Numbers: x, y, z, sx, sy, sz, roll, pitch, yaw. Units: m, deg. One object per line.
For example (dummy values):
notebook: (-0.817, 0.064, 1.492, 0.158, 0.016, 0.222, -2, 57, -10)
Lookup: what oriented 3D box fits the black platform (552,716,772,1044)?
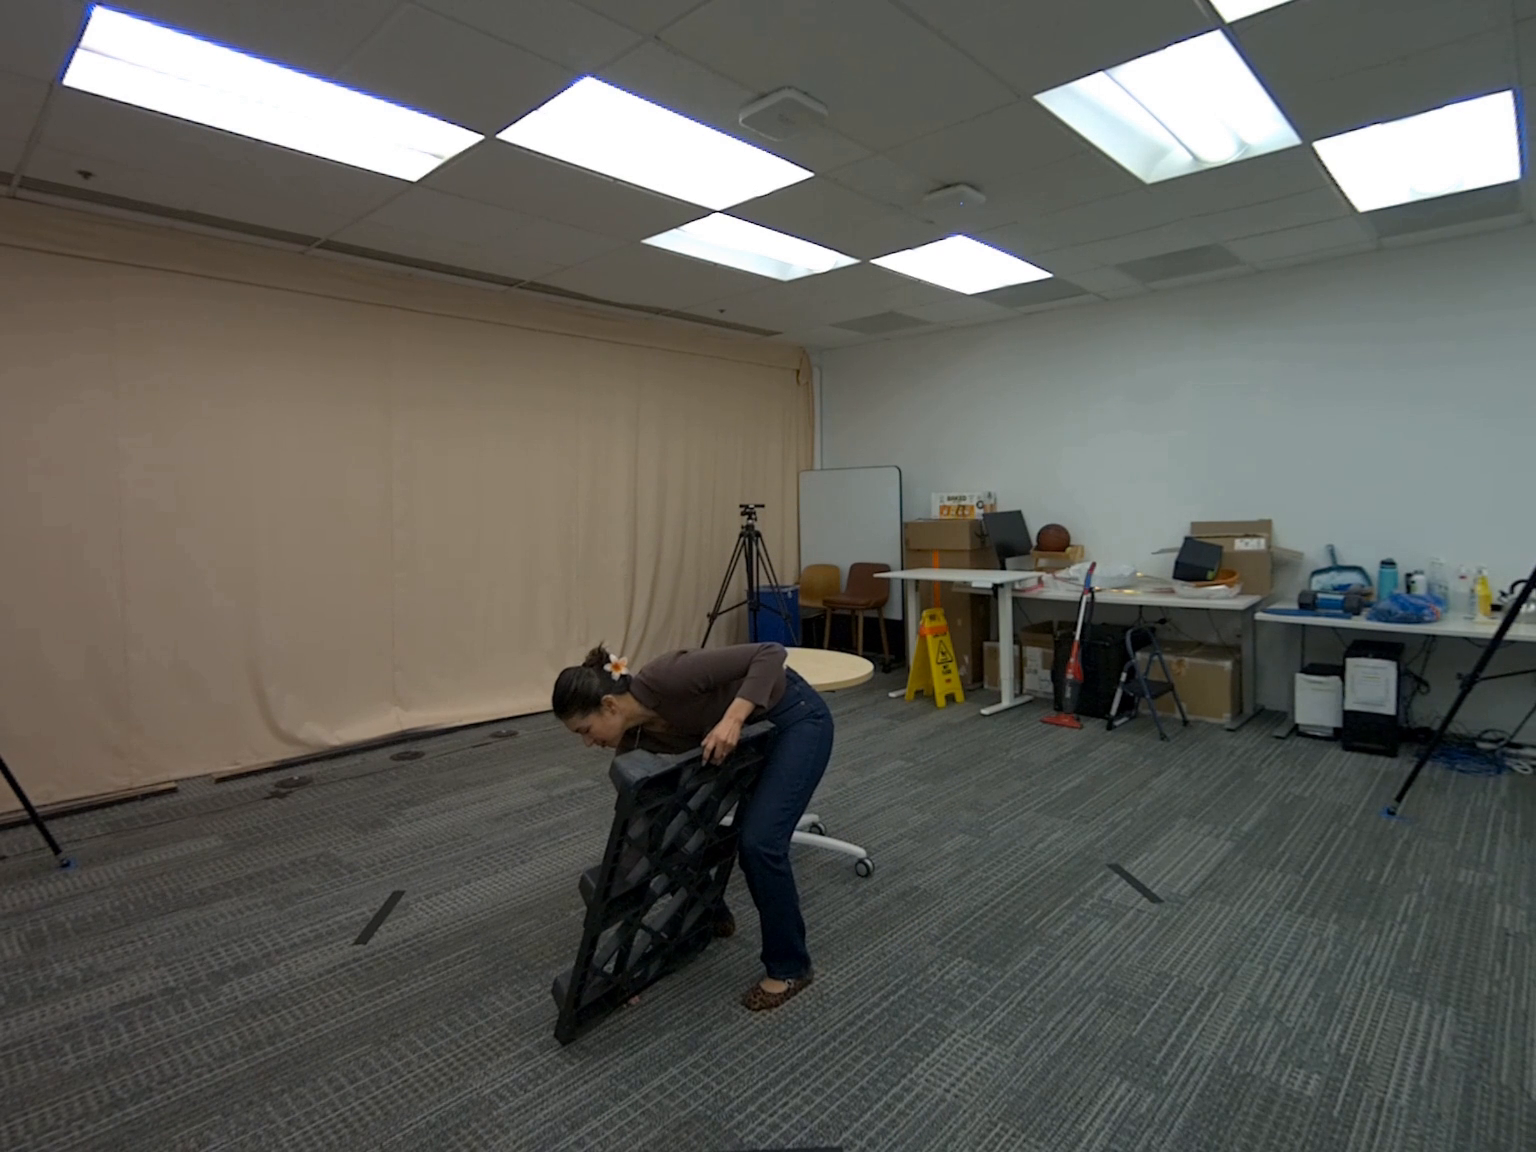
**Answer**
black platform: (-0.299, 0.787, 2.296, 0.148, 0.802, 0.588, 27, 19, 30)
